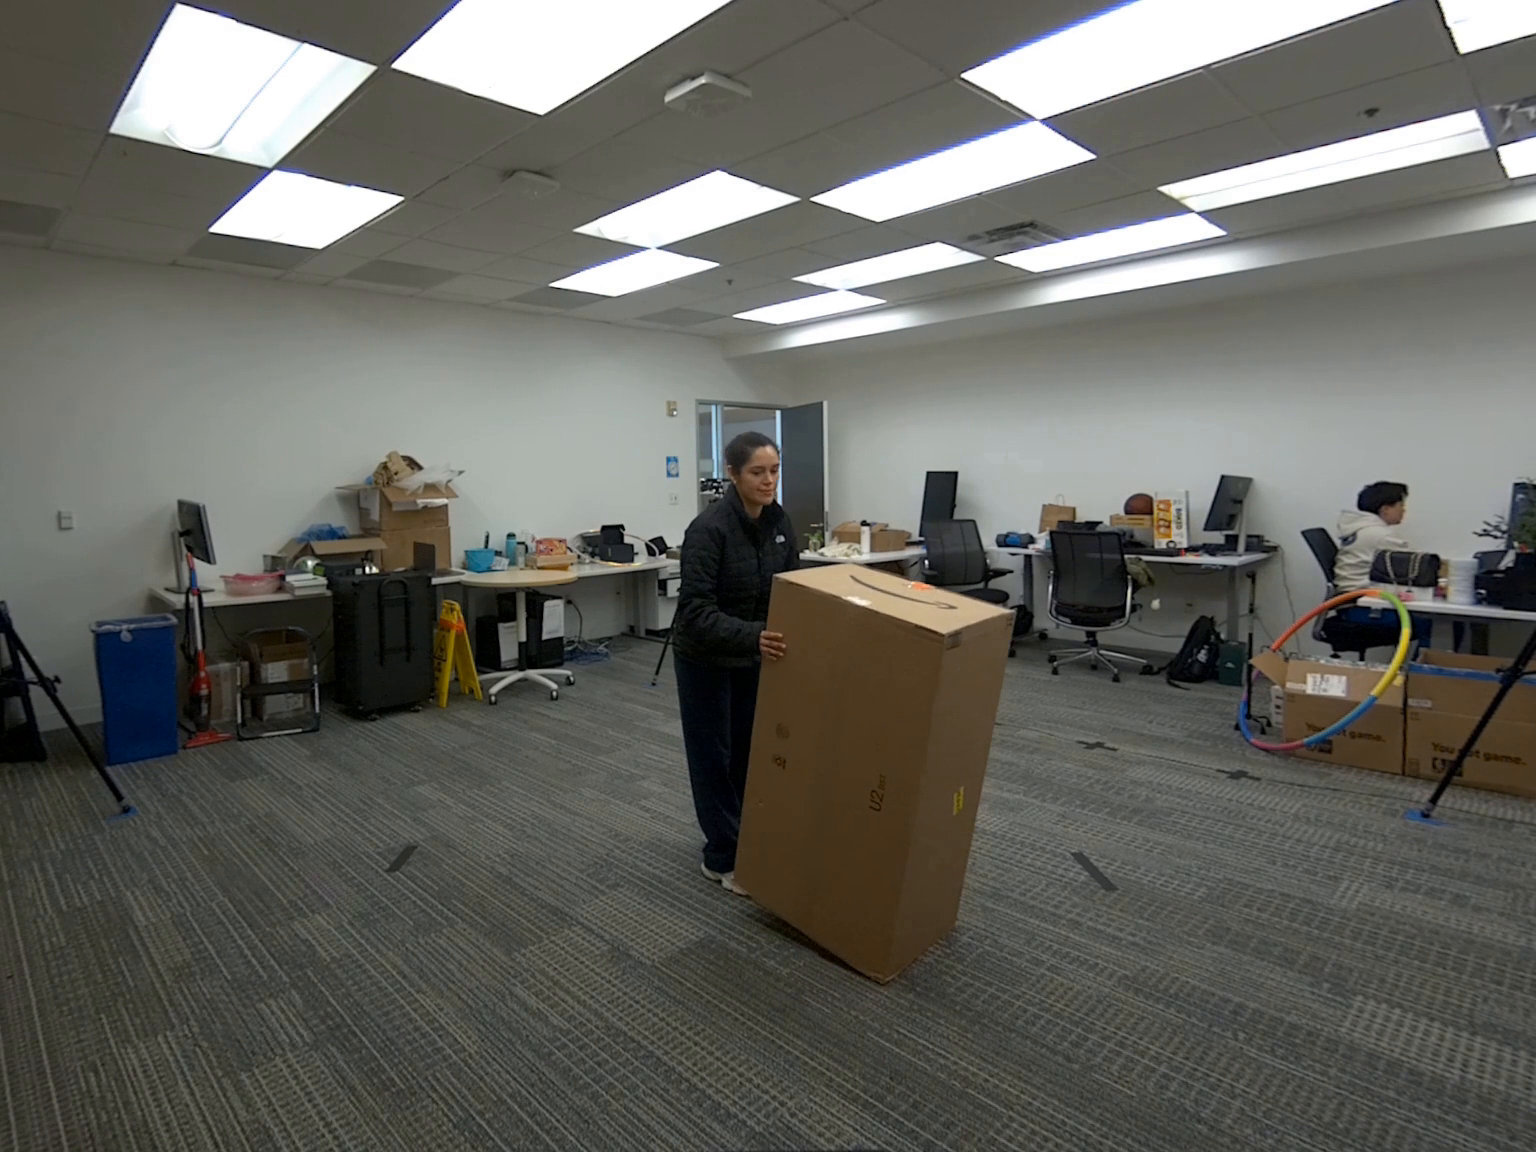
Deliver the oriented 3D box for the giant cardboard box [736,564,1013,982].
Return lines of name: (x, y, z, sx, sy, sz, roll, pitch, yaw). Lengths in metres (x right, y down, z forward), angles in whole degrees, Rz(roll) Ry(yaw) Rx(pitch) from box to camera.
giant cardboard box: (0.304, 0.544, 2.593, 0.598, 1.016, 0.415, 18, 15, 40)
